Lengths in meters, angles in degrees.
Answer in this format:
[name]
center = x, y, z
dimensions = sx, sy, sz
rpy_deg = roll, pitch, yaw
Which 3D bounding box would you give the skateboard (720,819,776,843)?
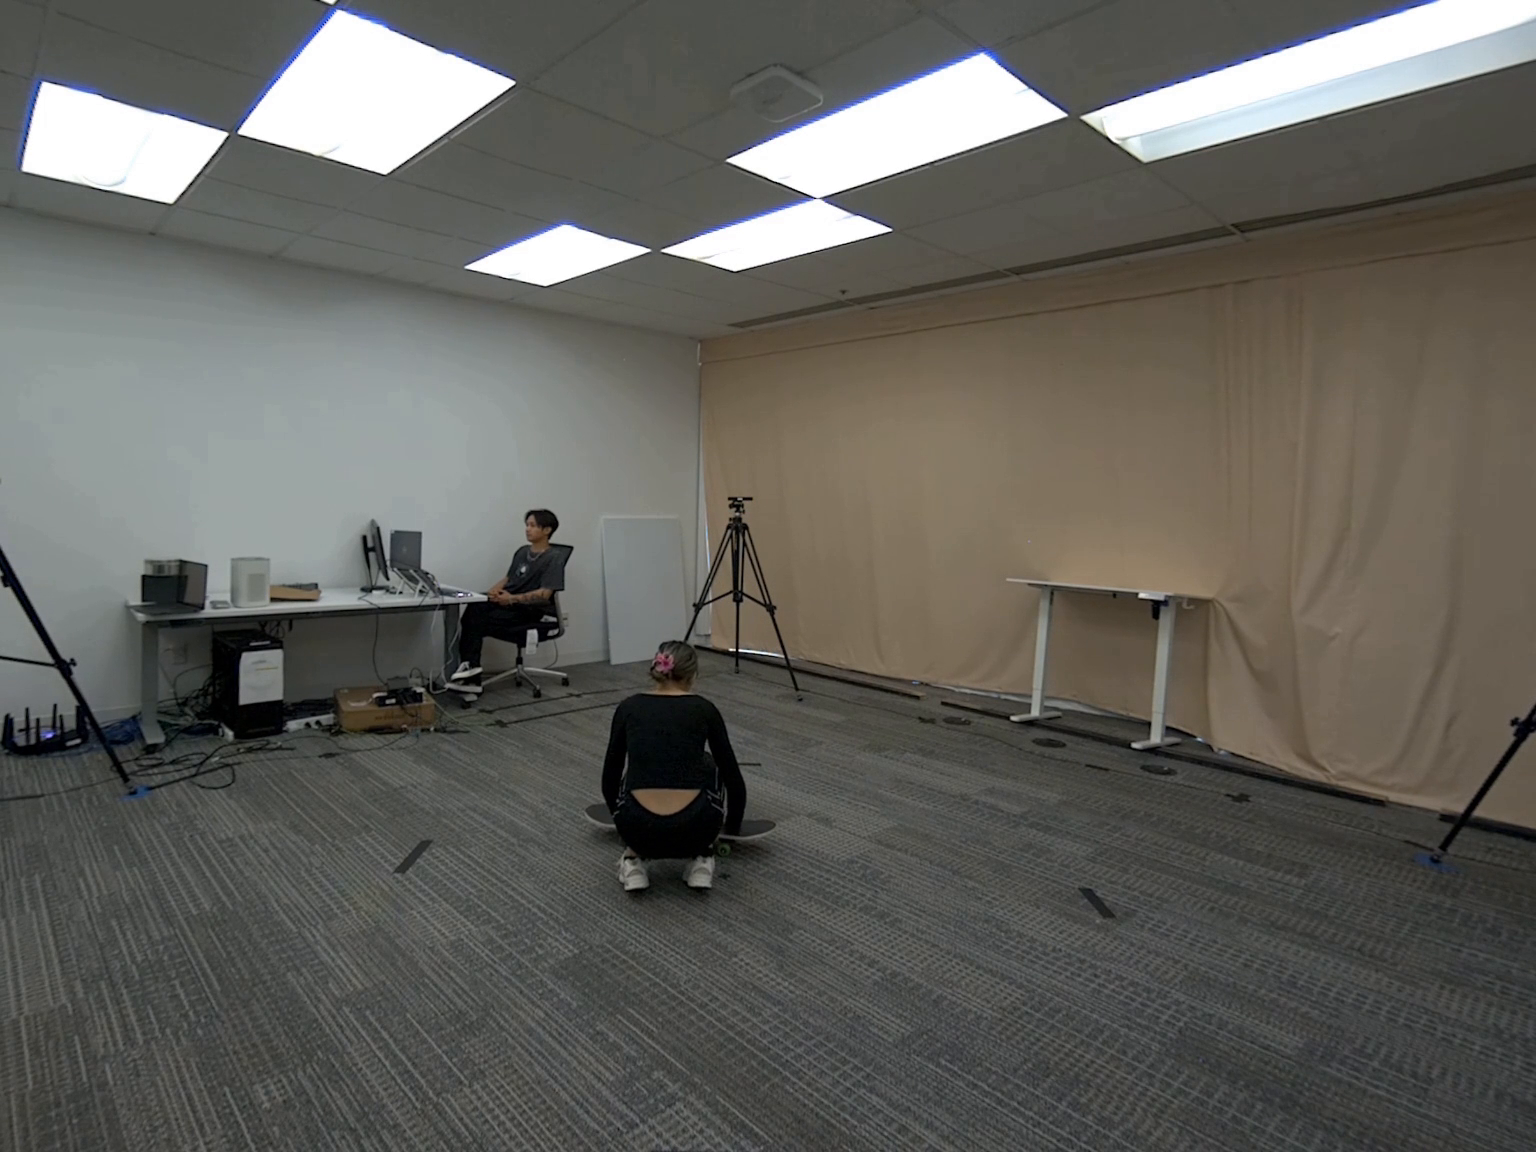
[skateboard]
center = -0.350, 1.015, 3.383
dimensions = 0.793, 0.110, 0.192
rpy_deg = 2, 5, 11
